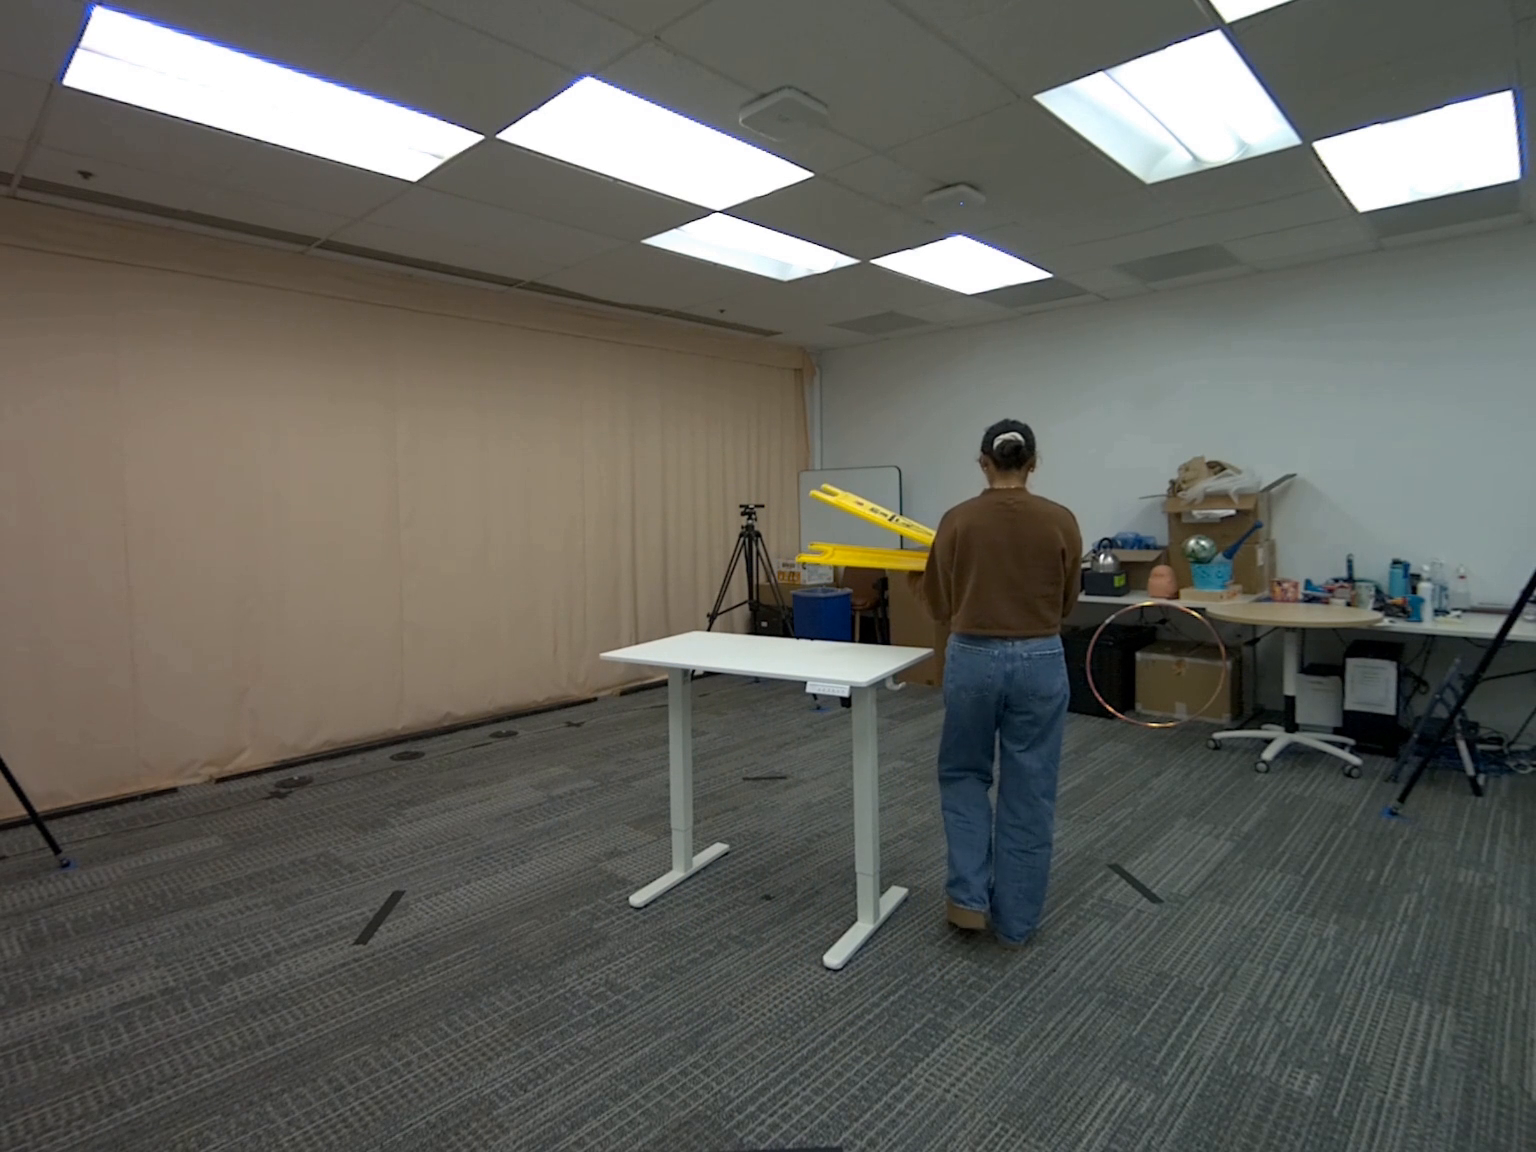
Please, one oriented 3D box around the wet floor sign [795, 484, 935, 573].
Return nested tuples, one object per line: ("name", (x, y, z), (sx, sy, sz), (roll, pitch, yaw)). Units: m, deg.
("wet floor sign", (0.469, -0.118, 2.997), (0.657, 0.288, 0.279), (13, 16, 14))
